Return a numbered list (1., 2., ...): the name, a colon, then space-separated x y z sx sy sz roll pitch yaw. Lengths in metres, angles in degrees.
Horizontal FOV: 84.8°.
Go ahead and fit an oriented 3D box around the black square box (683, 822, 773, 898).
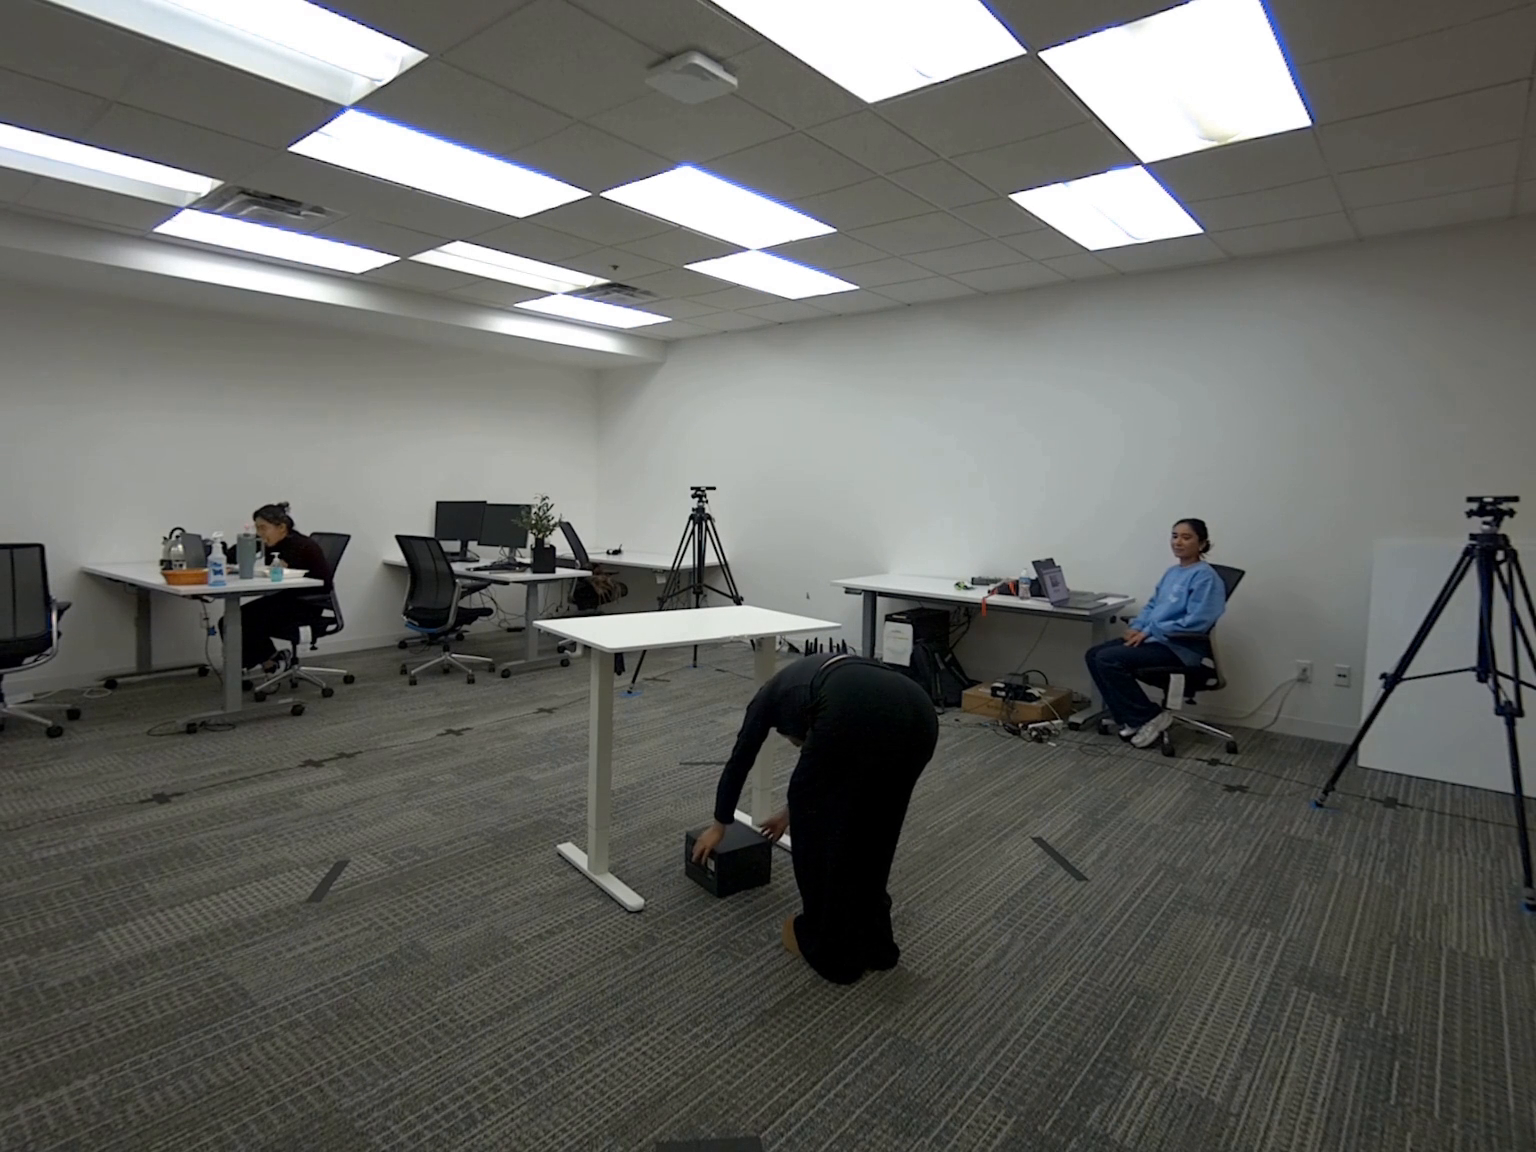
1. black square box: -0.152 0.992 3.017 0.221 0.155 0.224 -2 6 -36
